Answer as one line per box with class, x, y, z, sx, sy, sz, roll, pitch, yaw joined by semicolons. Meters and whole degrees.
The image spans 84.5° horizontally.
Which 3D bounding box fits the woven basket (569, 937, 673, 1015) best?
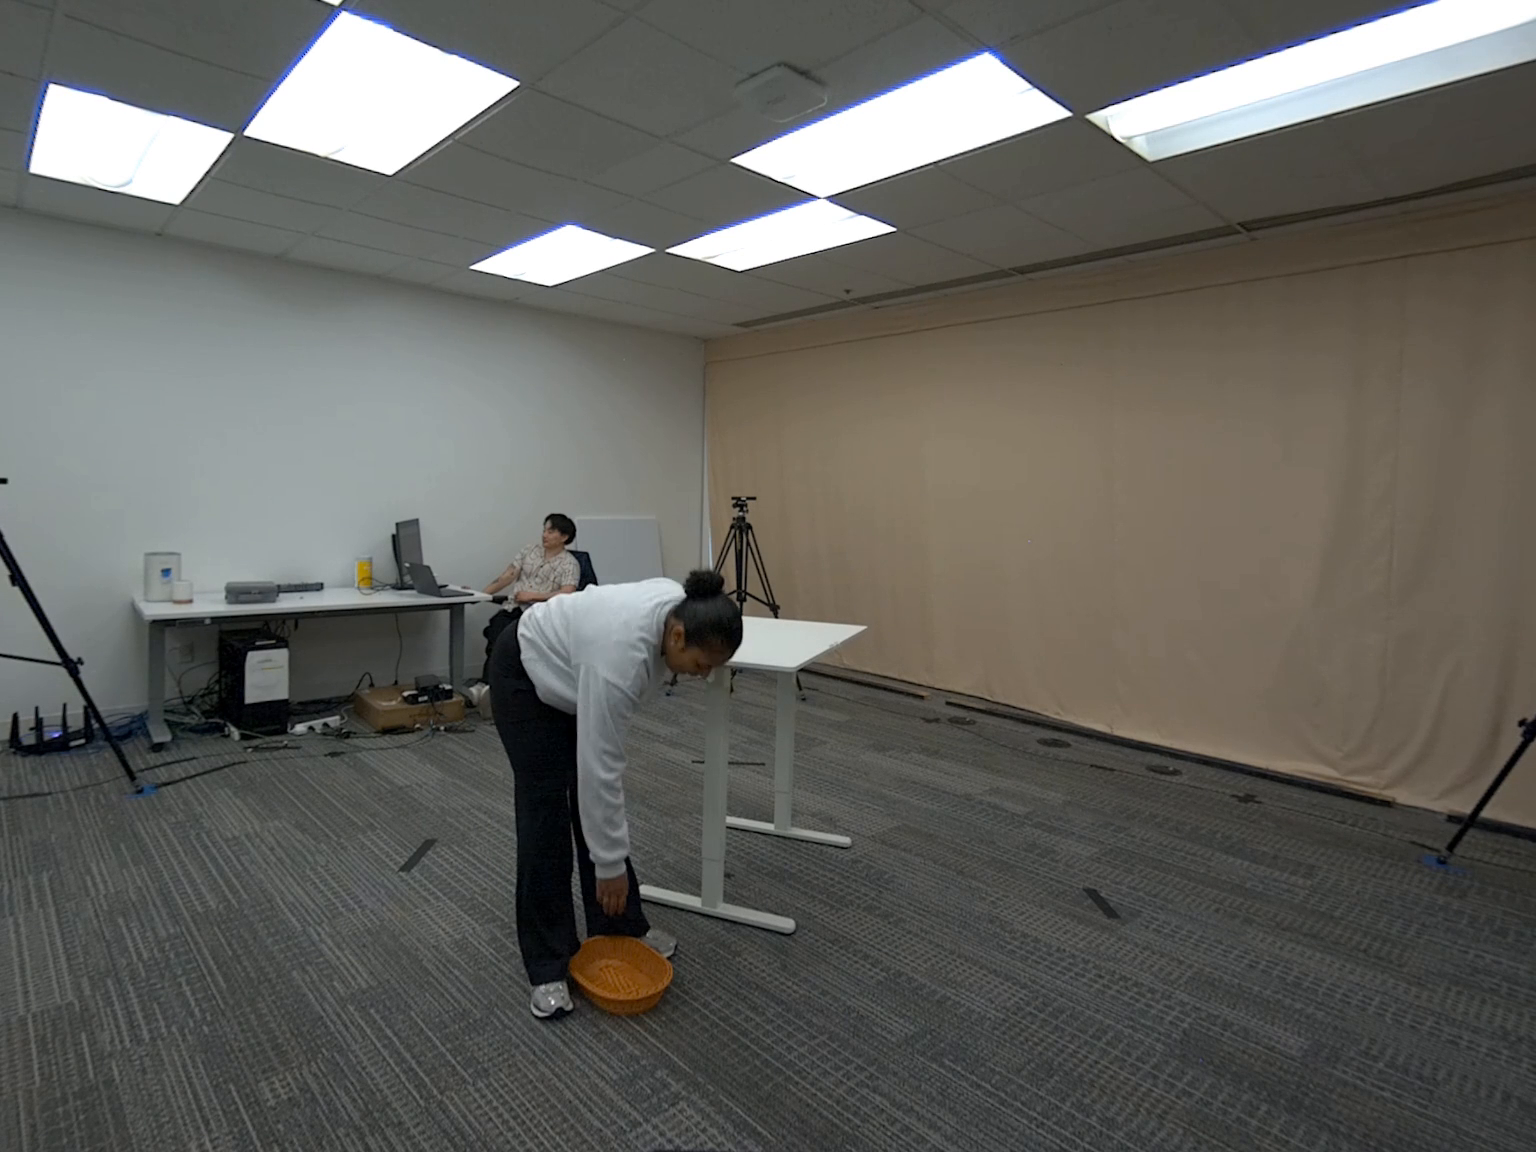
woven basket;-0.433;1.130;2.373;0.247;0.073;0.359;-4;7;-38
